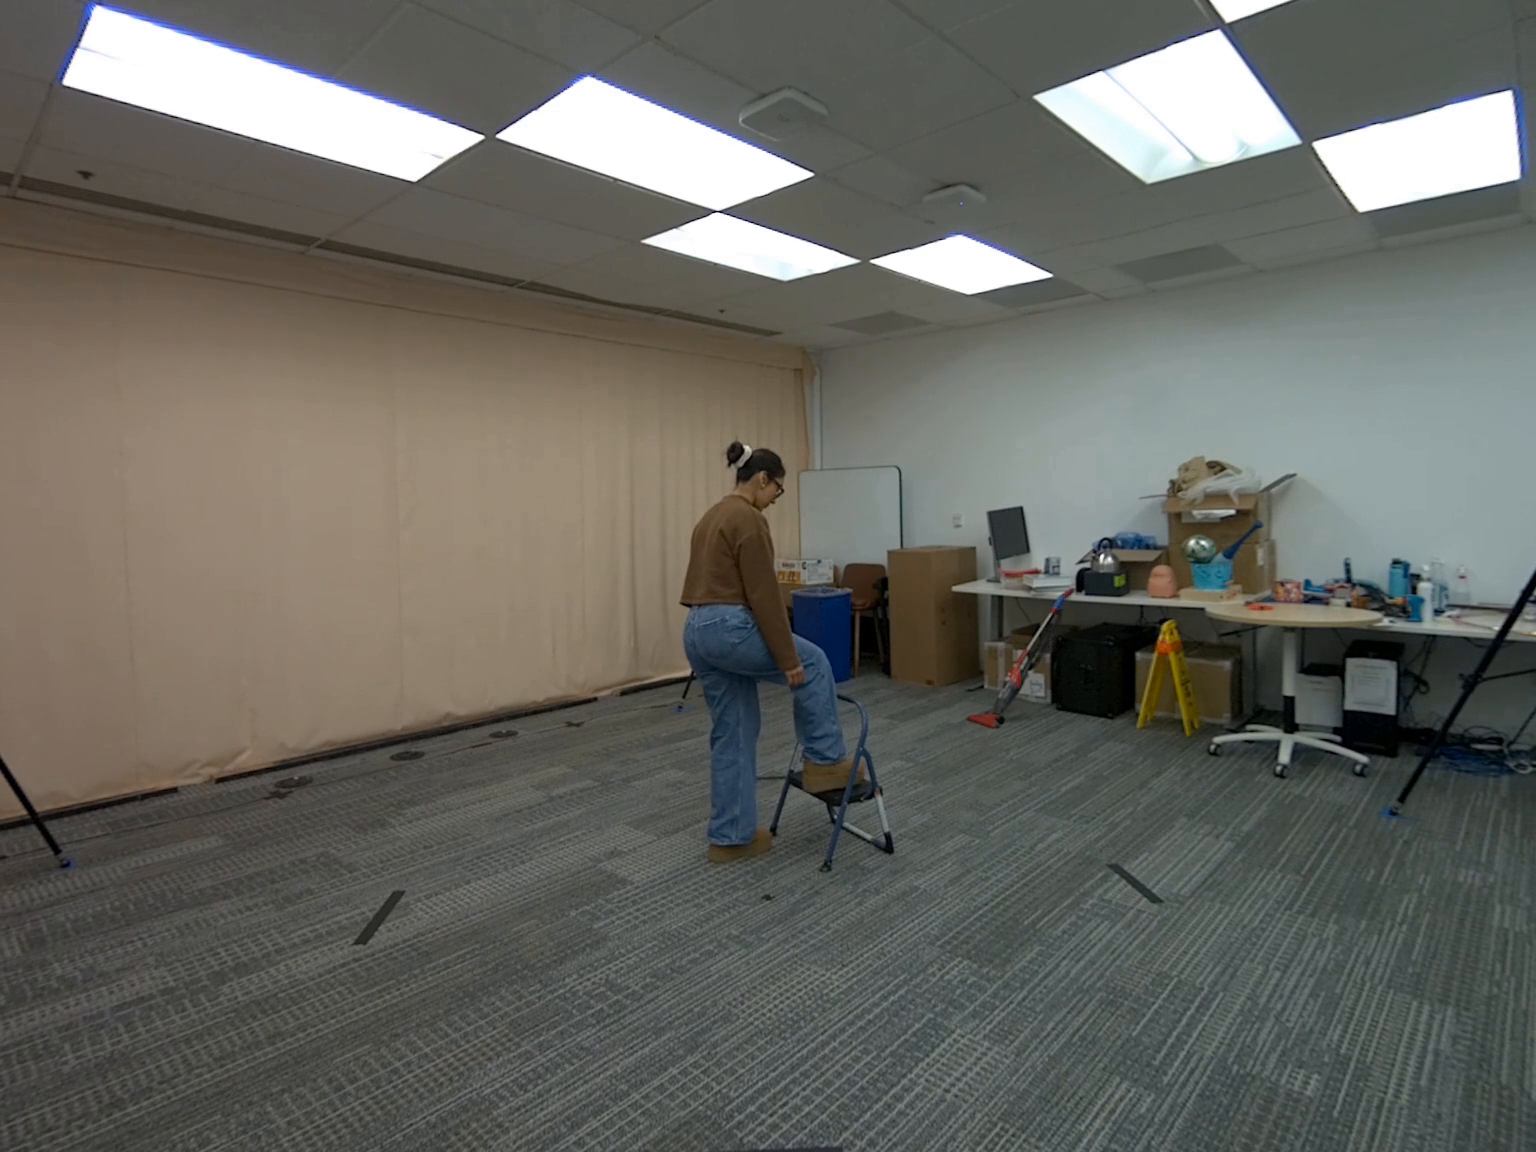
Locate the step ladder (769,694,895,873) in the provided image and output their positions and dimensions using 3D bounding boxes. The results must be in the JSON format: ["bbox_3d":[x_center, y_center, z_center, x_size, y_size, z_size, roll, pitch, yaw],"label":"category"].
[{"bbox_3d":[0.250,0.792,3.427,0.340,0.605,0.443,-2,4,-30],"label":"step ladder"}]
